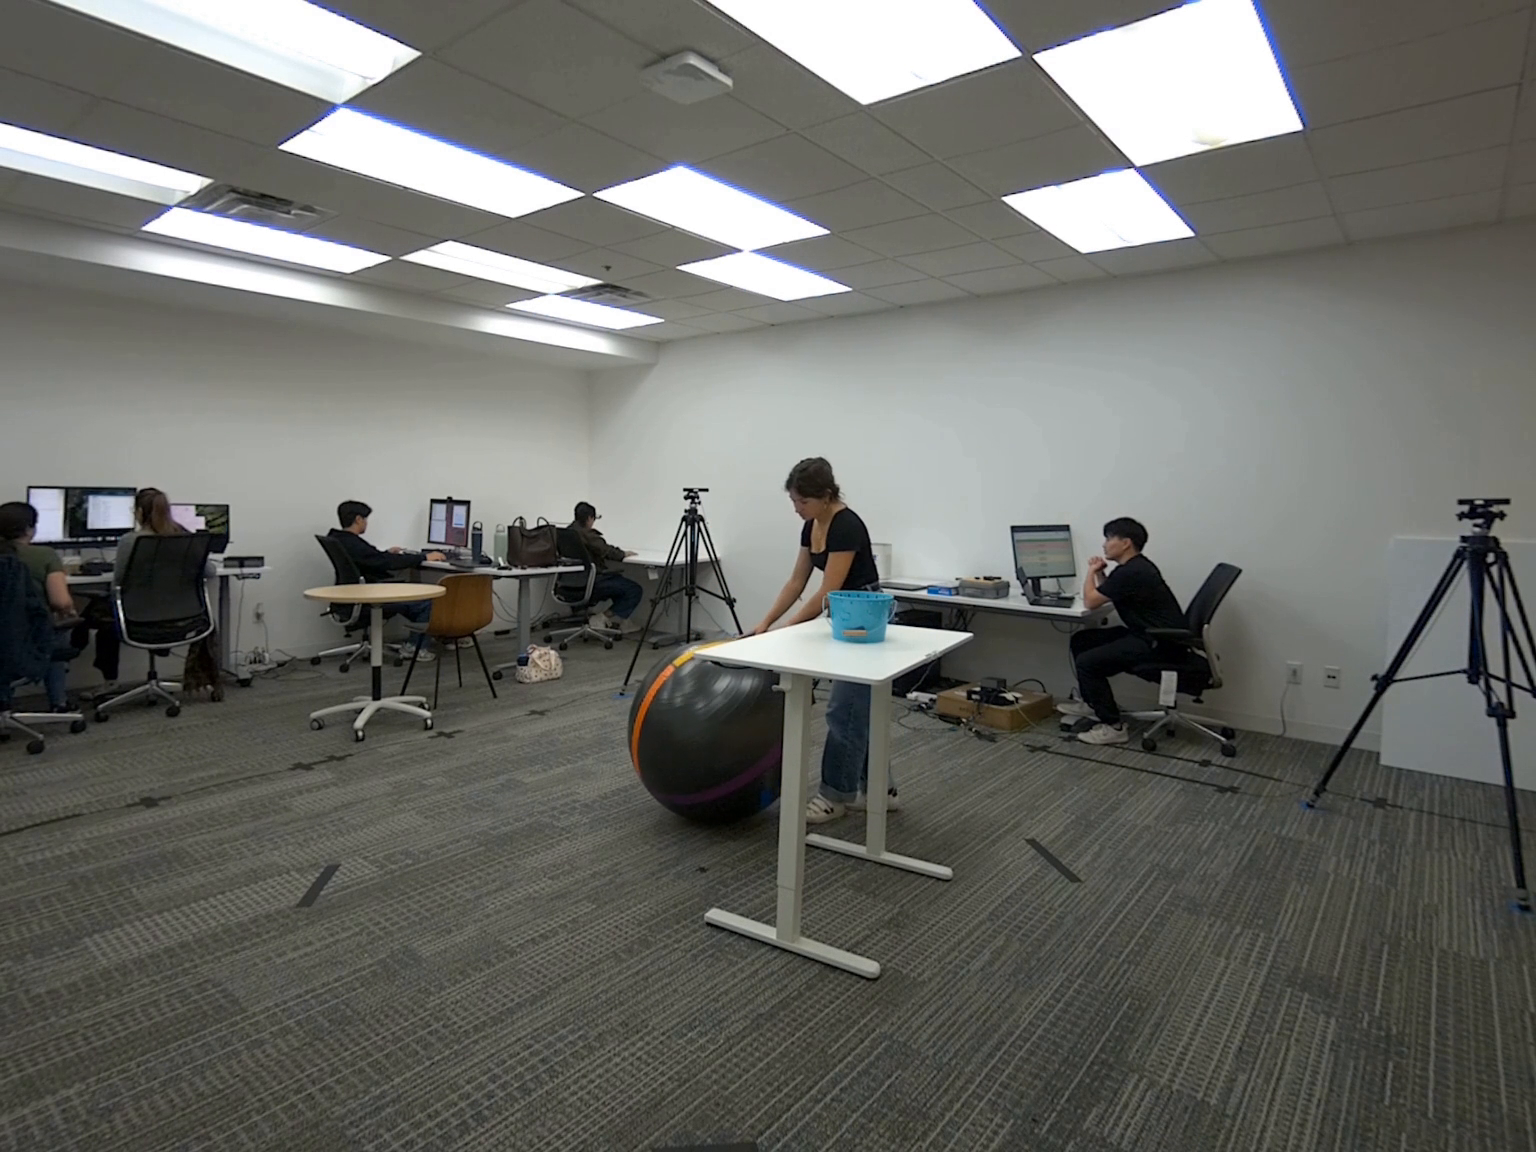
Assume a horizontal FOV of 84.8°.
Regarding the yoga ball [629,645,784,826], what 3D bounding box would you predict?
[{"bbox_3d":[-0.233,0.656,3.620,0.757,0.756,0.762,1,4,-2],"label":"yoga ball"}]
